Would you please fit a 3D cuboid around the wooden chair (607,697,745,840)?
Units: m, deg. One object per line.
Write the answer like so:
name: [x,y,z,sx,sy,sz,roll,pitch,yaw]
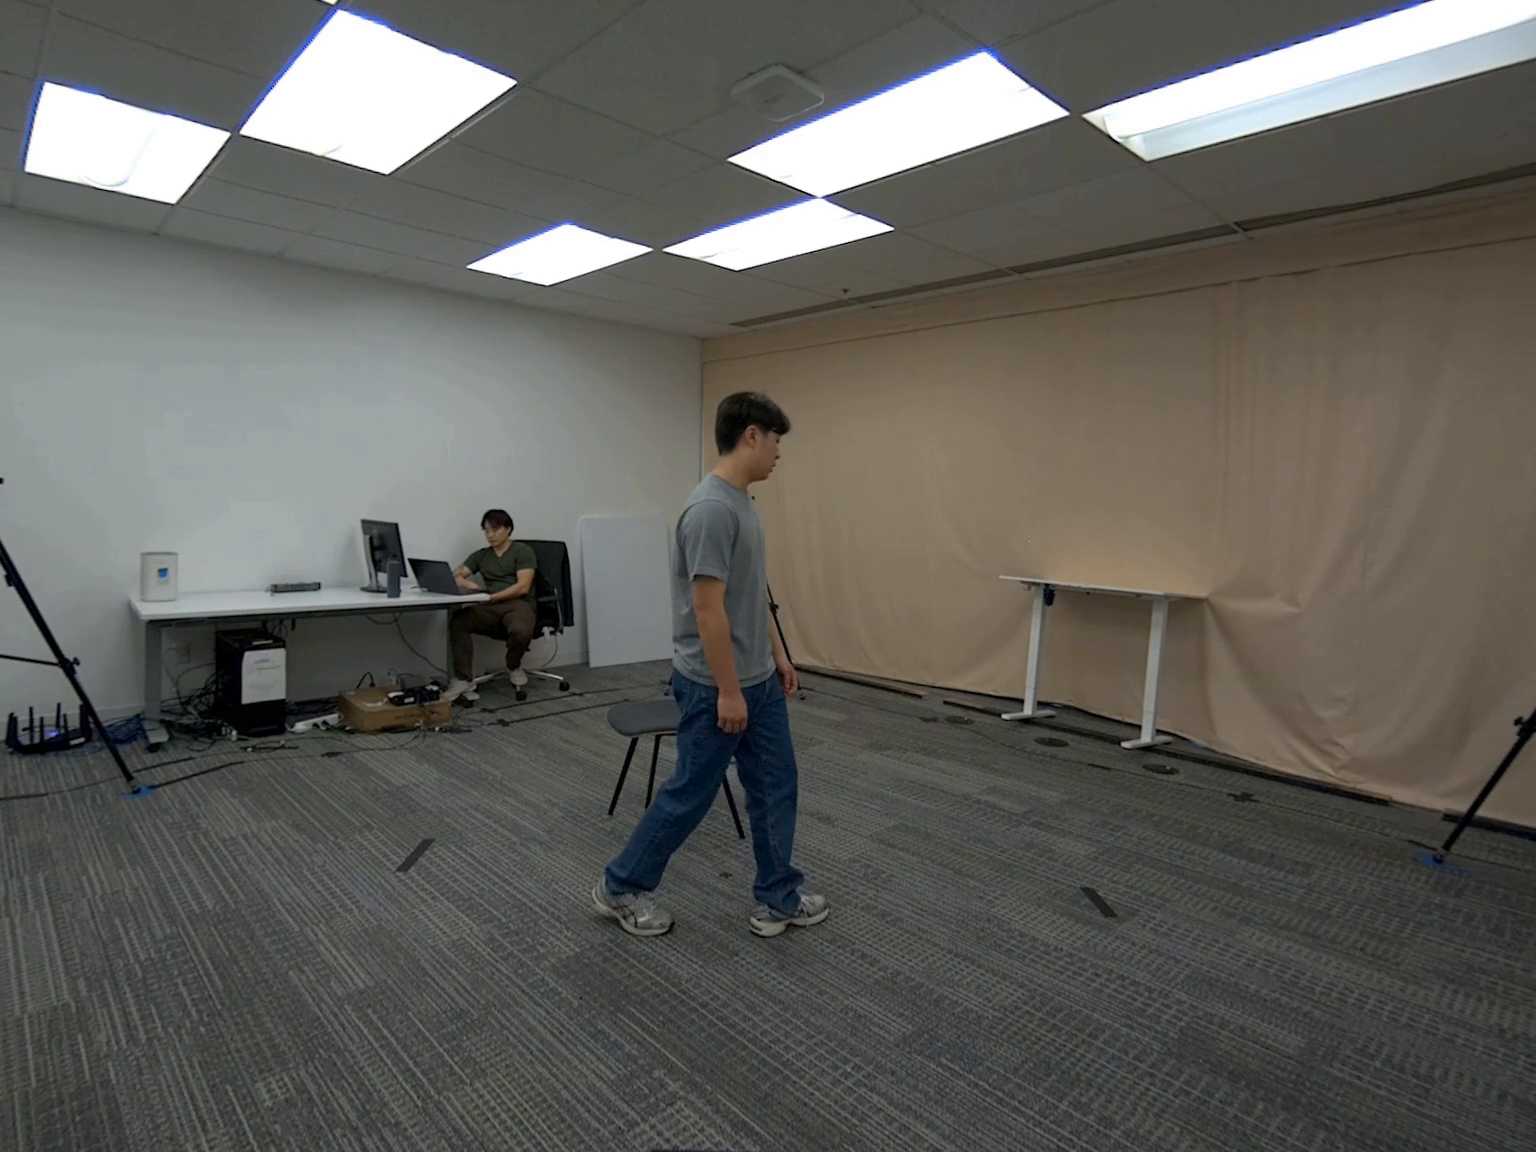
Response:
wooden chair: [-0.397,0.634,3.519,0.513,0.876,0.488,5,2,-25]
